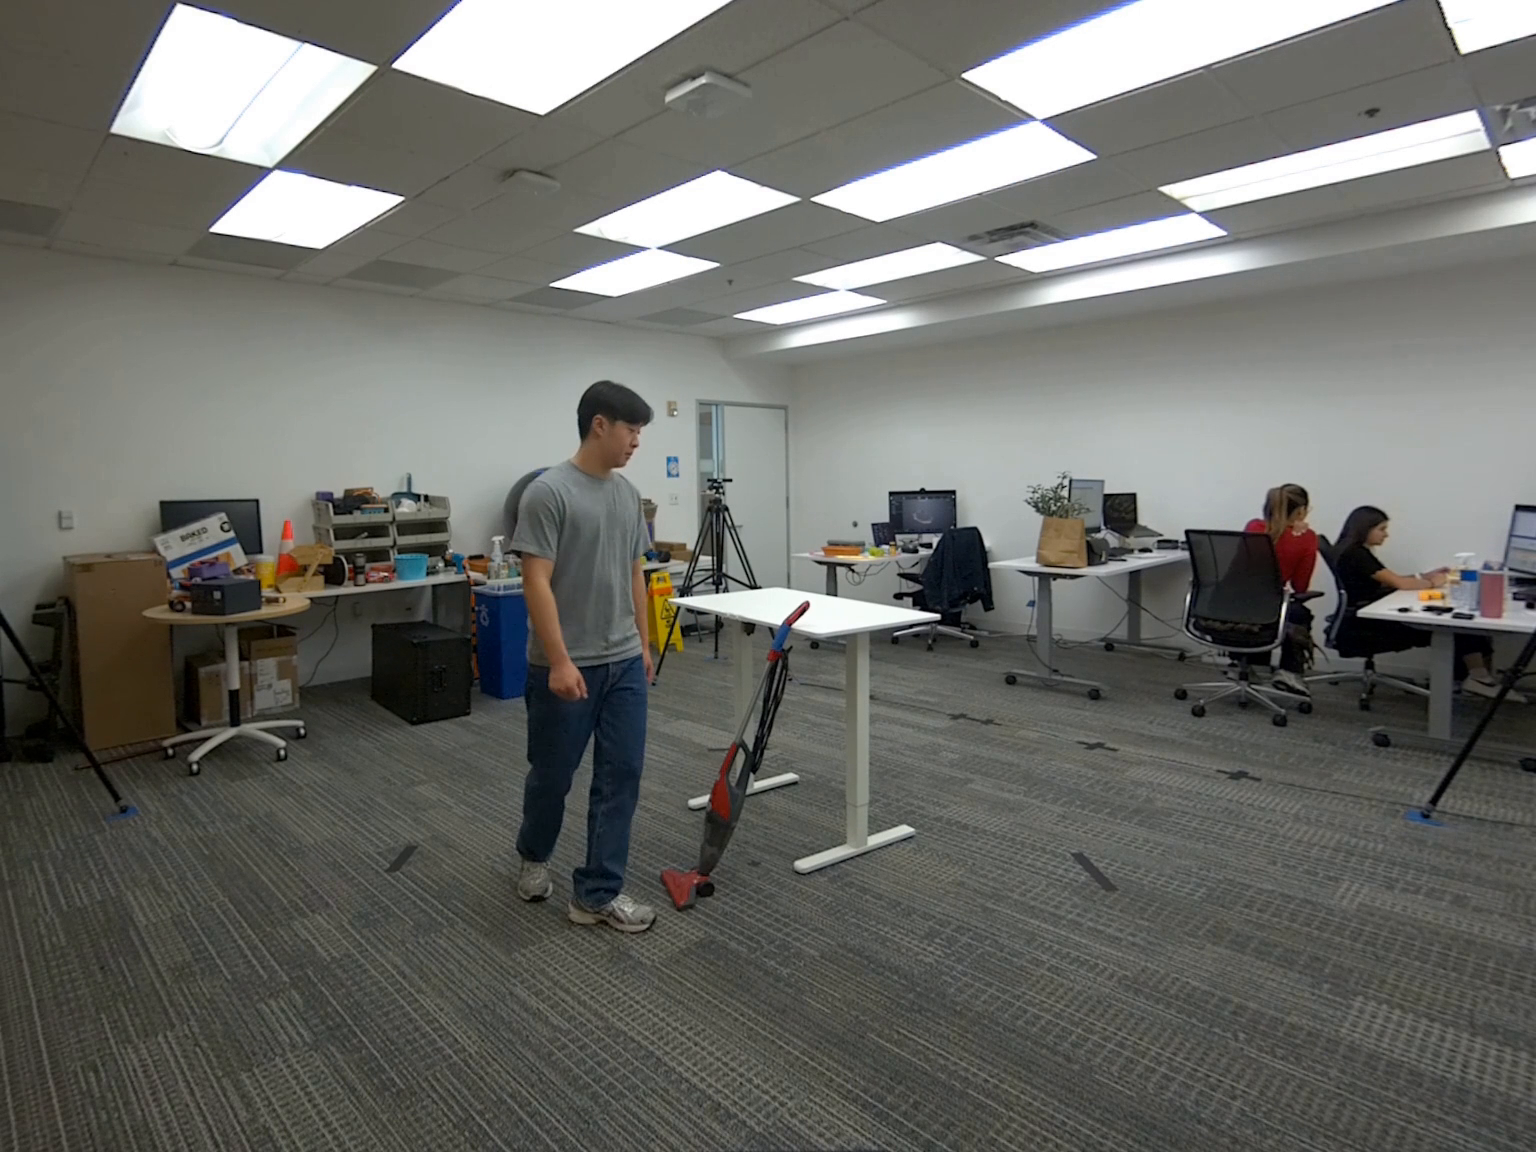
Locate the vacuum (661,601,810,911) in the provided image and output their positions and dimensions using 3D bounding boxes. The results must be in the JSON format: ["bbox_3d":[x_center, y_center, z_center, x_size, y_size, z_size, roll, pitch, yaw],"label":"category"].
[{"bbox_3d":[-0.063,0.593,2.934,0.140,1.051,0.260,27,-4,-27],"label":"vacuum"}]
